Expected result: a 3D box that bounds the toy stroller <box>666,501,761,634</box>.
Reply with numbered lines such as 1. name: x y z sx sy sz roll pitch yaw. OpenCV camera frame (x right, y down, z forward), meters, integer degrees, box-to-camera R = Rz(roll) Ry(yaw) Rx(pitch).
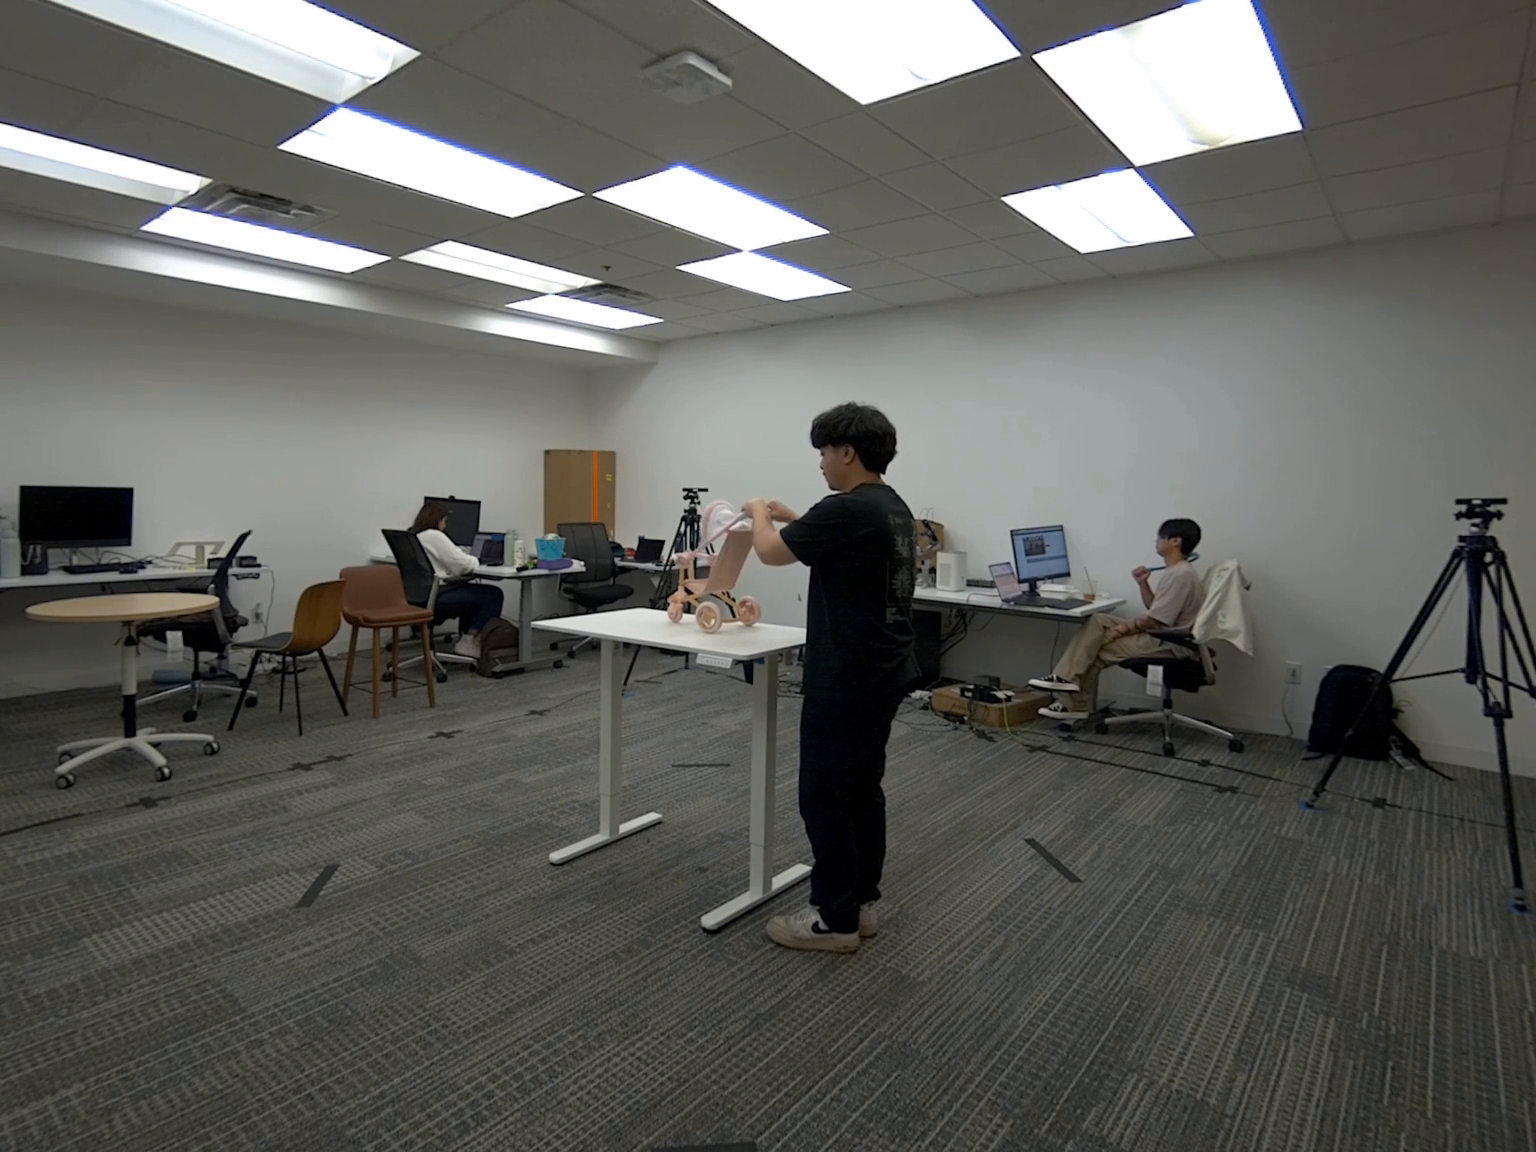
1. toy stroller: -0.202 -0.039 3.112 0.355 0.531 0.273 21 14 37
